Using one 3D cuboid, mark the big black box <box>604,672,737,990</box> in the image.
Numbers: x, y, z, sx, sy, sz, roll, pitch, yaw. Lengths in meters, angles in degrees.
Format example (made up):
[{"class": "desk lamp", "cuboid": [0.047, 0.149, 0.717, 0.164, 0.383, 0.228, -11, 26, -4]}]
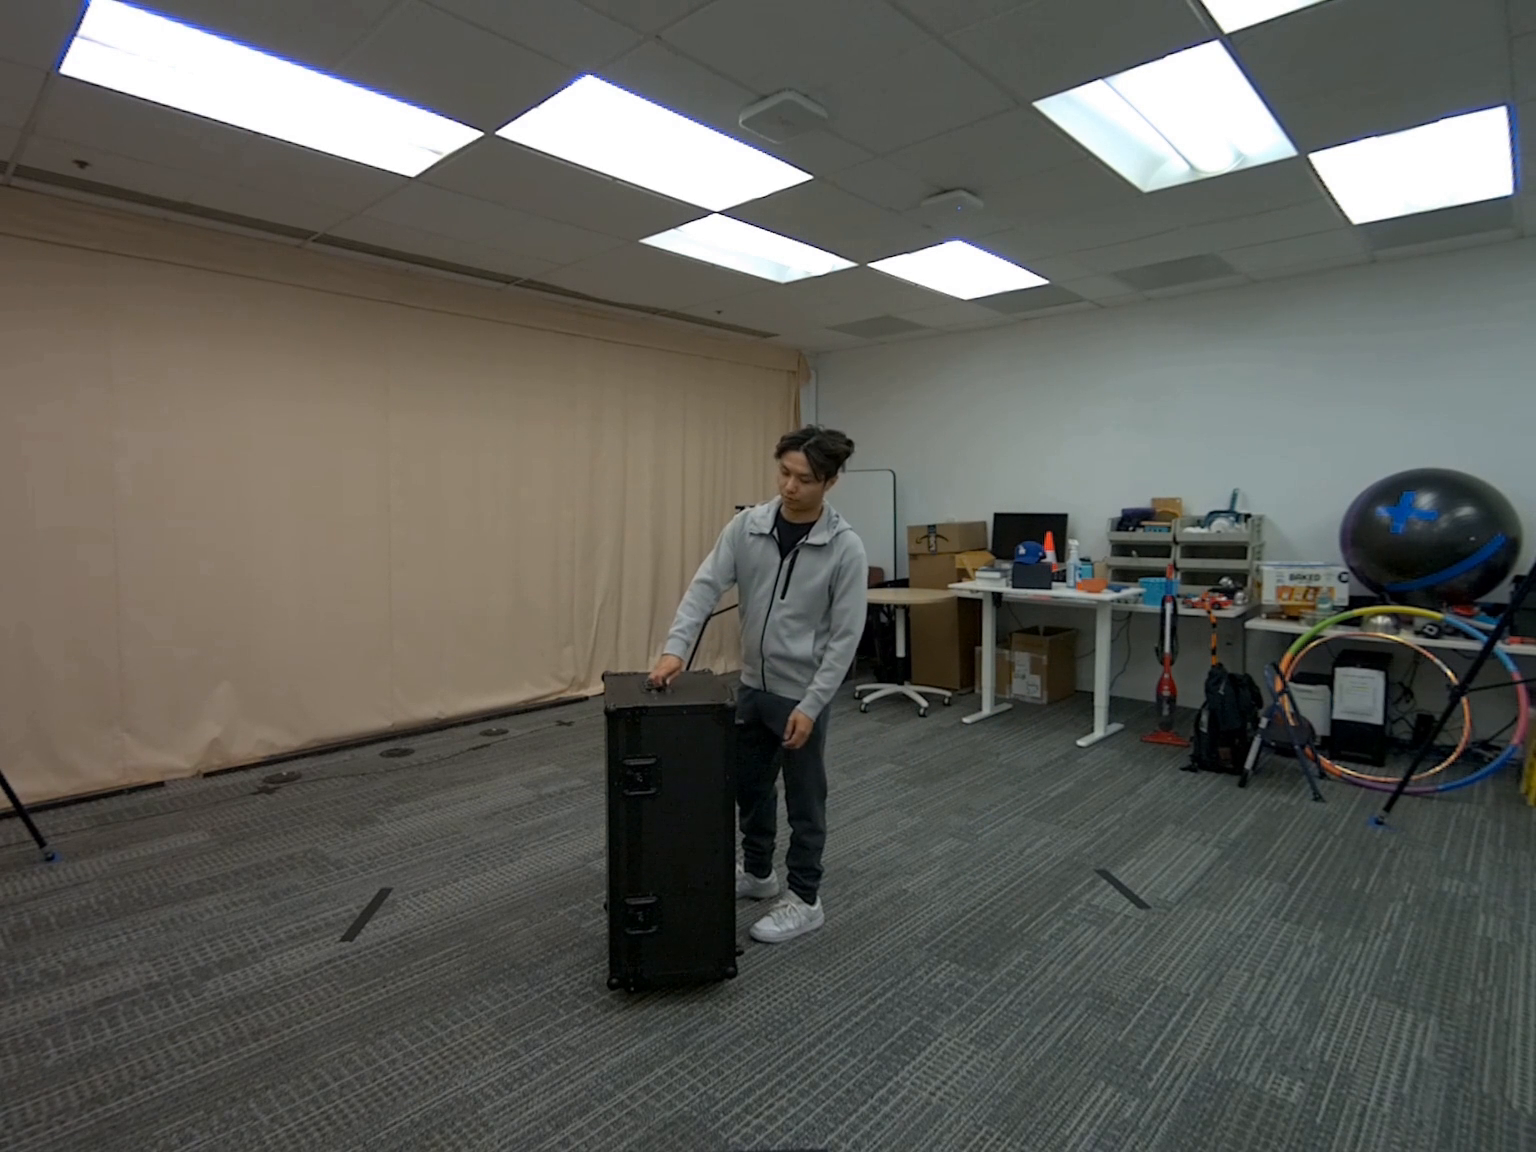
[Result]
[{"class": "big black box", "cuboid": [-0.306, 0.759, 2.546, 0.392, 0.860, 0.528, 0, 2, -11]}]
